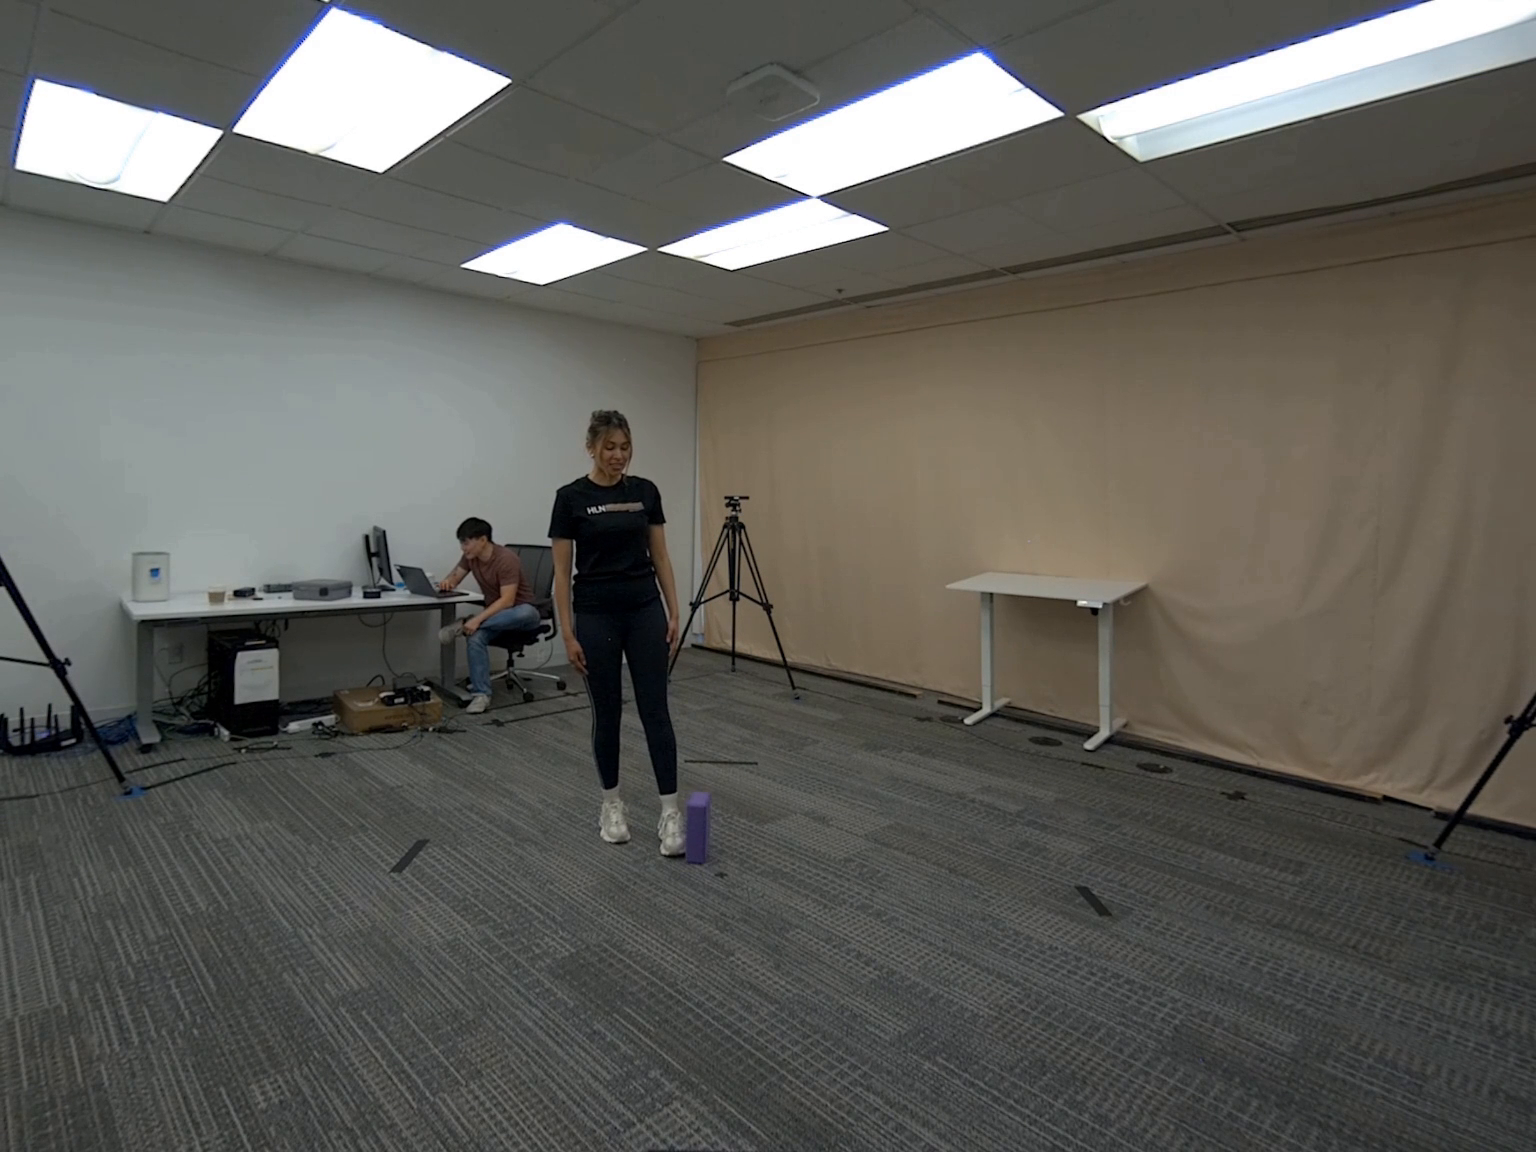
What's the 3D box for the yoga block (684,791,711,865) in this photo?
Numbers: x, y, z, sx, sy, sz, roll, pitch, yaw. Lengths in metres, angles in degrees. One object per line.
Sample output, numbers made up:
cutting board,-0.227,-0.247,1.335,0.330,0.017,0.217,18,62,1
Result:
yoga block,-0.275,0.973,3.250,0.077,0.229,0.149,2,4,5
